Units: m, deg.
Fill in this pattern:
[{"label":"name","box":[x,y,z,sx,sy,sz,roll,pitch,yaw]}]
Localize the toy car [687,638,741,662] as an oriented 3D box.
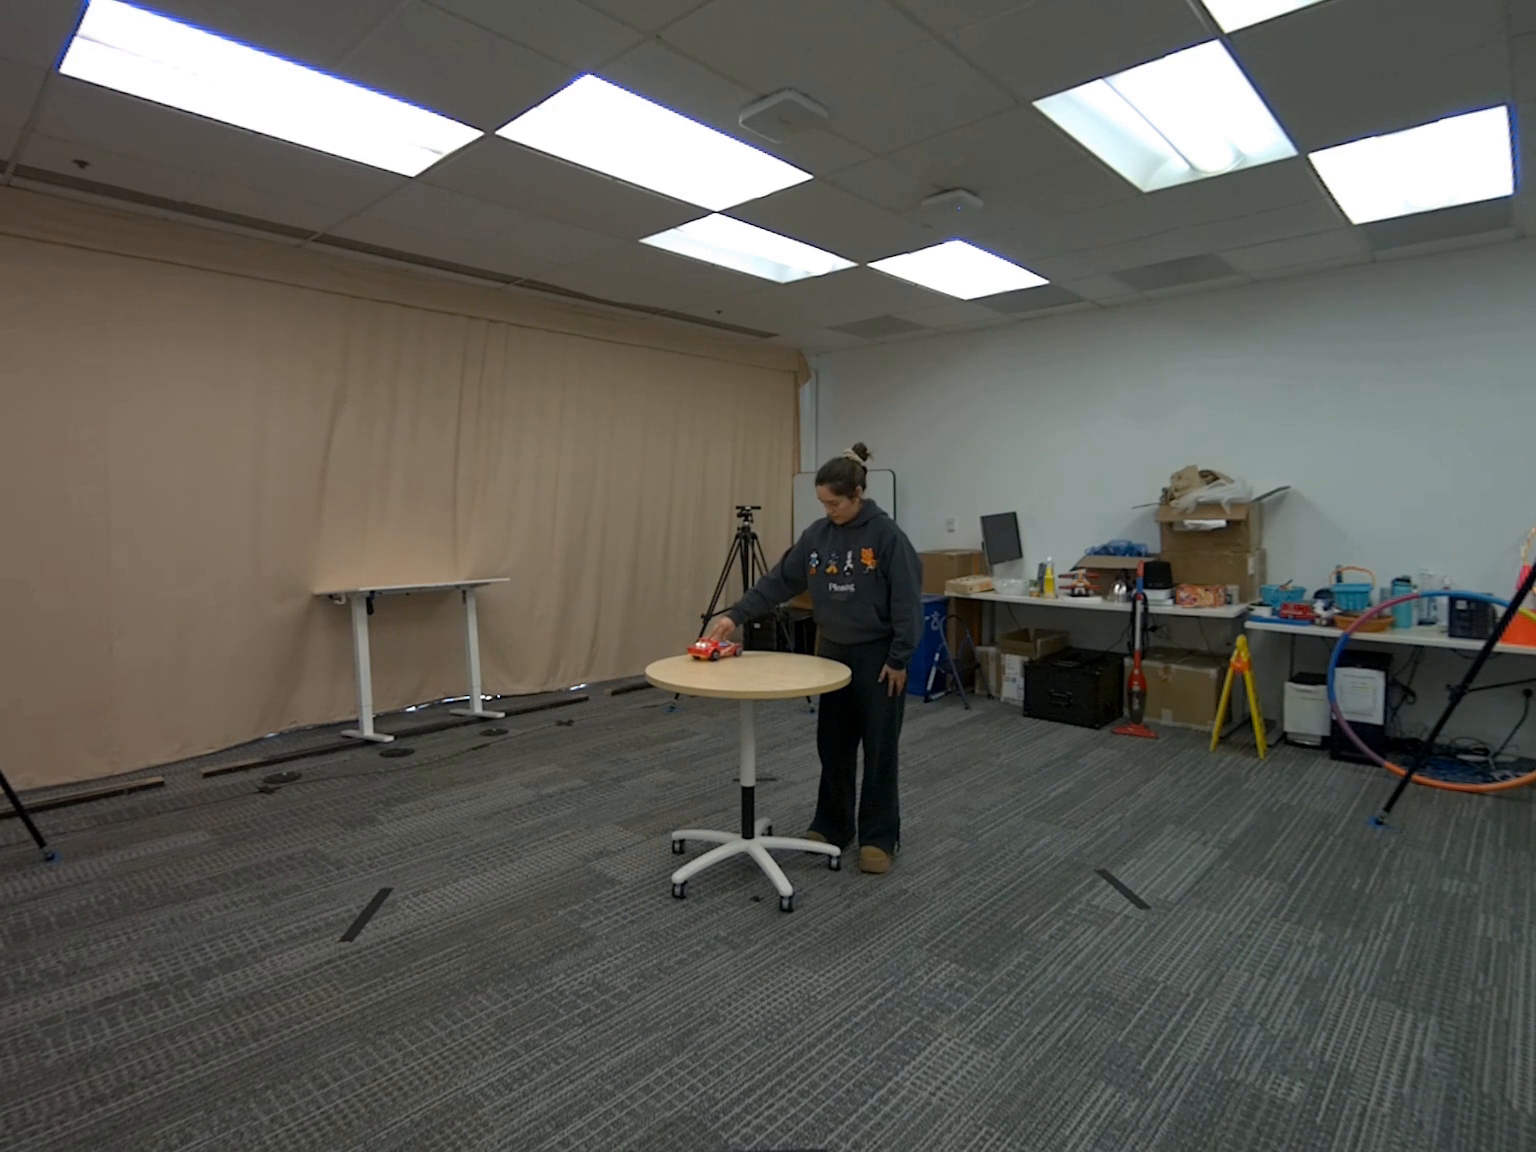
[{"label":"toy car","box":[-0.202,0.299,3.382,0.135,0.083,0.246,5,-5,41]}]
